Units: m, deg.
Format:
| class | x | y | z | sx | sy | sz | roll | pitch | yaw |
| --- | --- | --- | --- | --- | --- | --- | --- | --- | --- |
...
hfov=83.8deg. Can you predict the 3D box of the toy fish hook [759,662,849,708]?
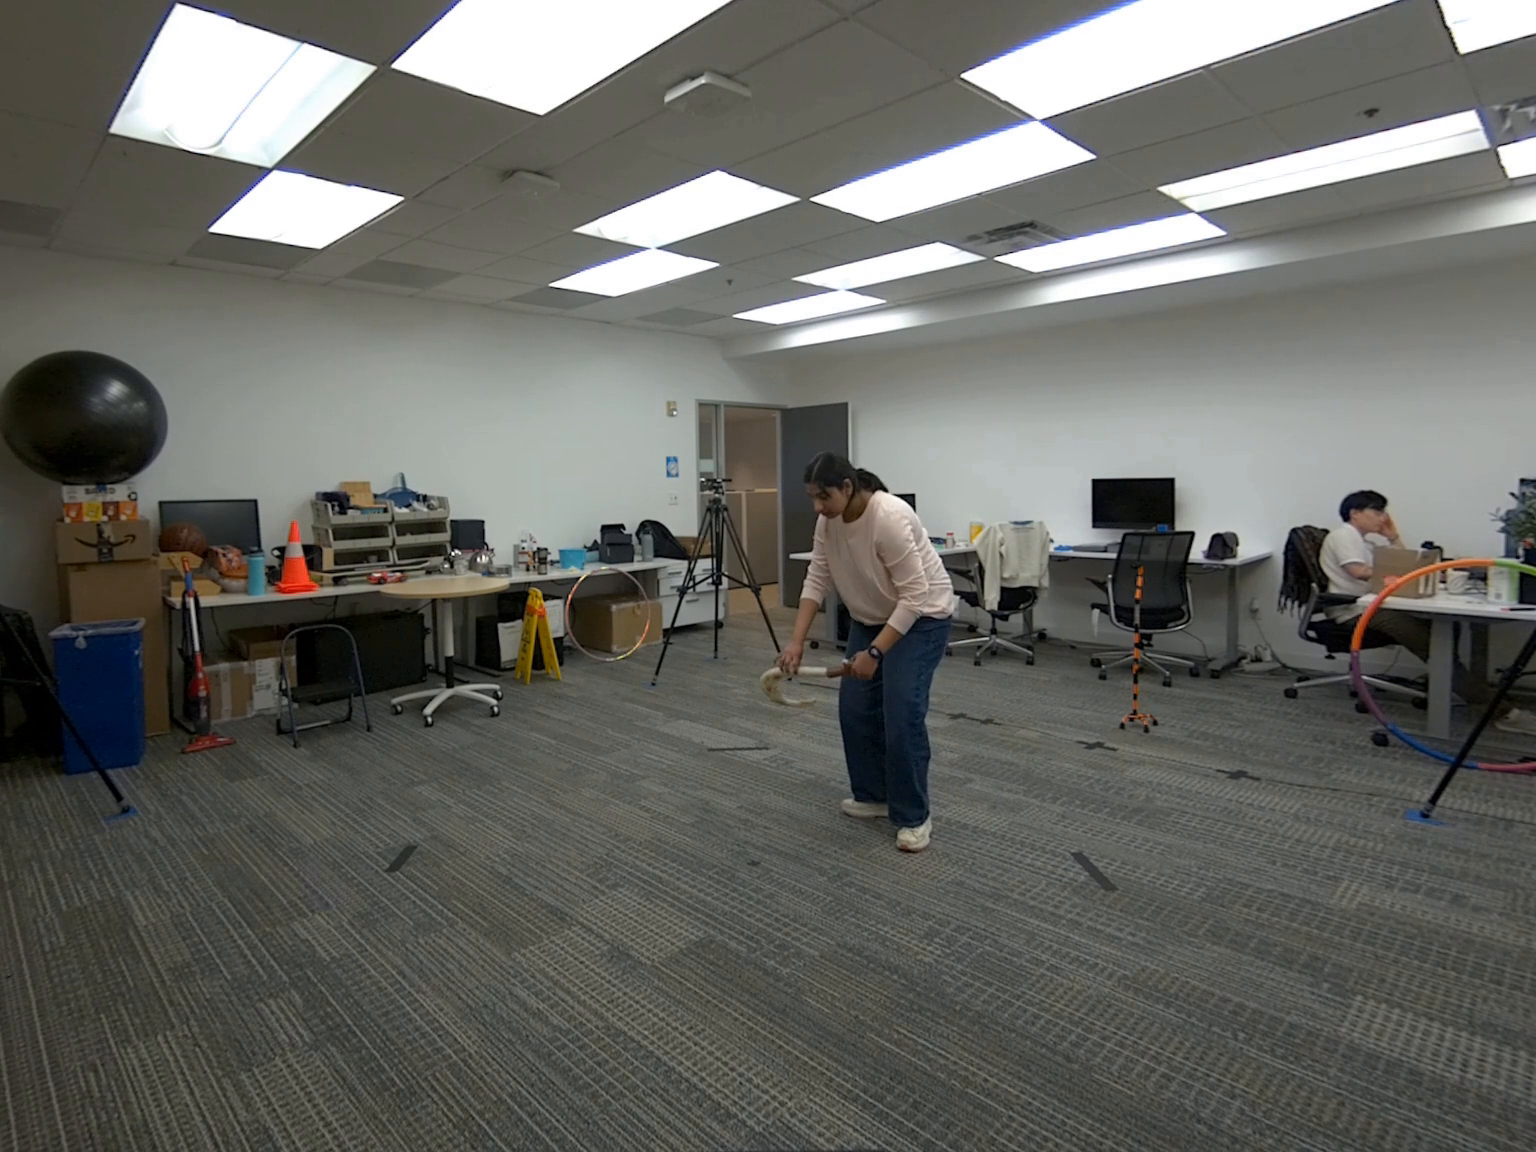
| class | x | y | z | sx | sy | sz | roll | pitch | yaw |
| --- | --- | --- | --- | --- | --- | --- | --- | --- | --- |
| toy fish hook | 0.216 | 0.422 | 3.318 | 0.516 | 0.217 | 0.049 | -14 | 36 | 29 |
